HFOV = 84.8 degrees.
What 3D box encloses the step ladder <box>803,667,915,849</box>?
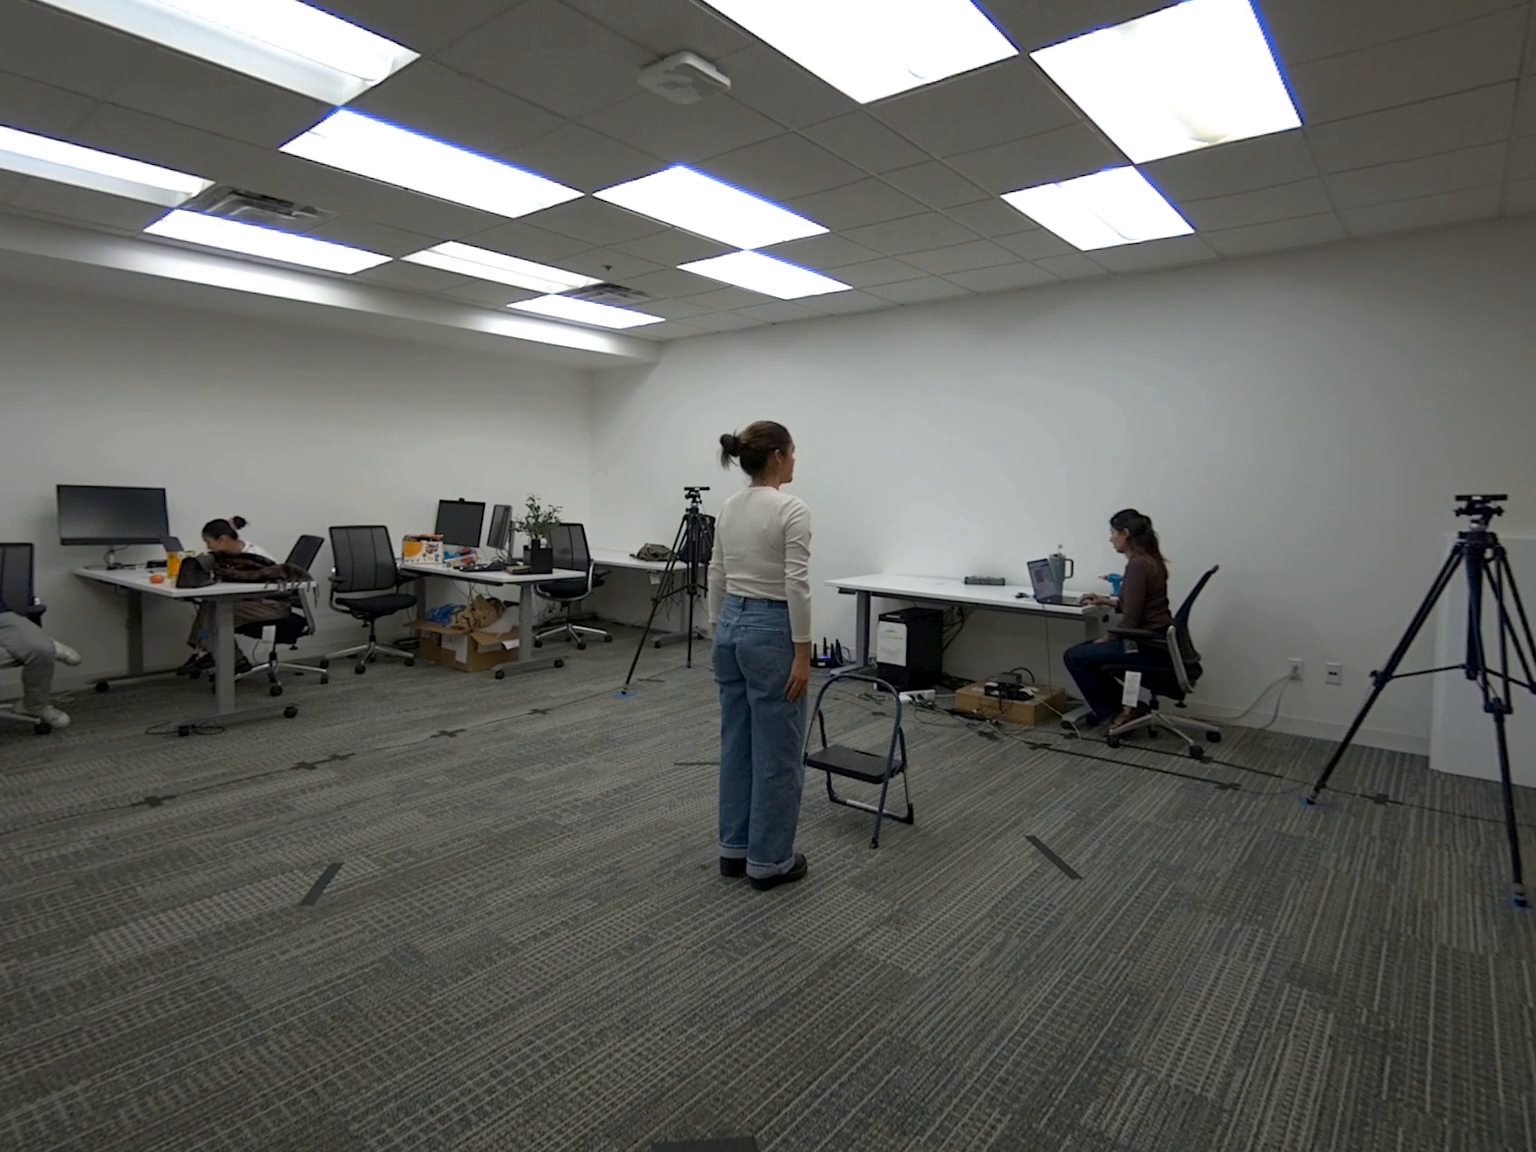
[{"bbox_3d":[0.350,0.727,3.560,0.445,0.604,0.339,4,5,37],"label":"step ladder"}]
